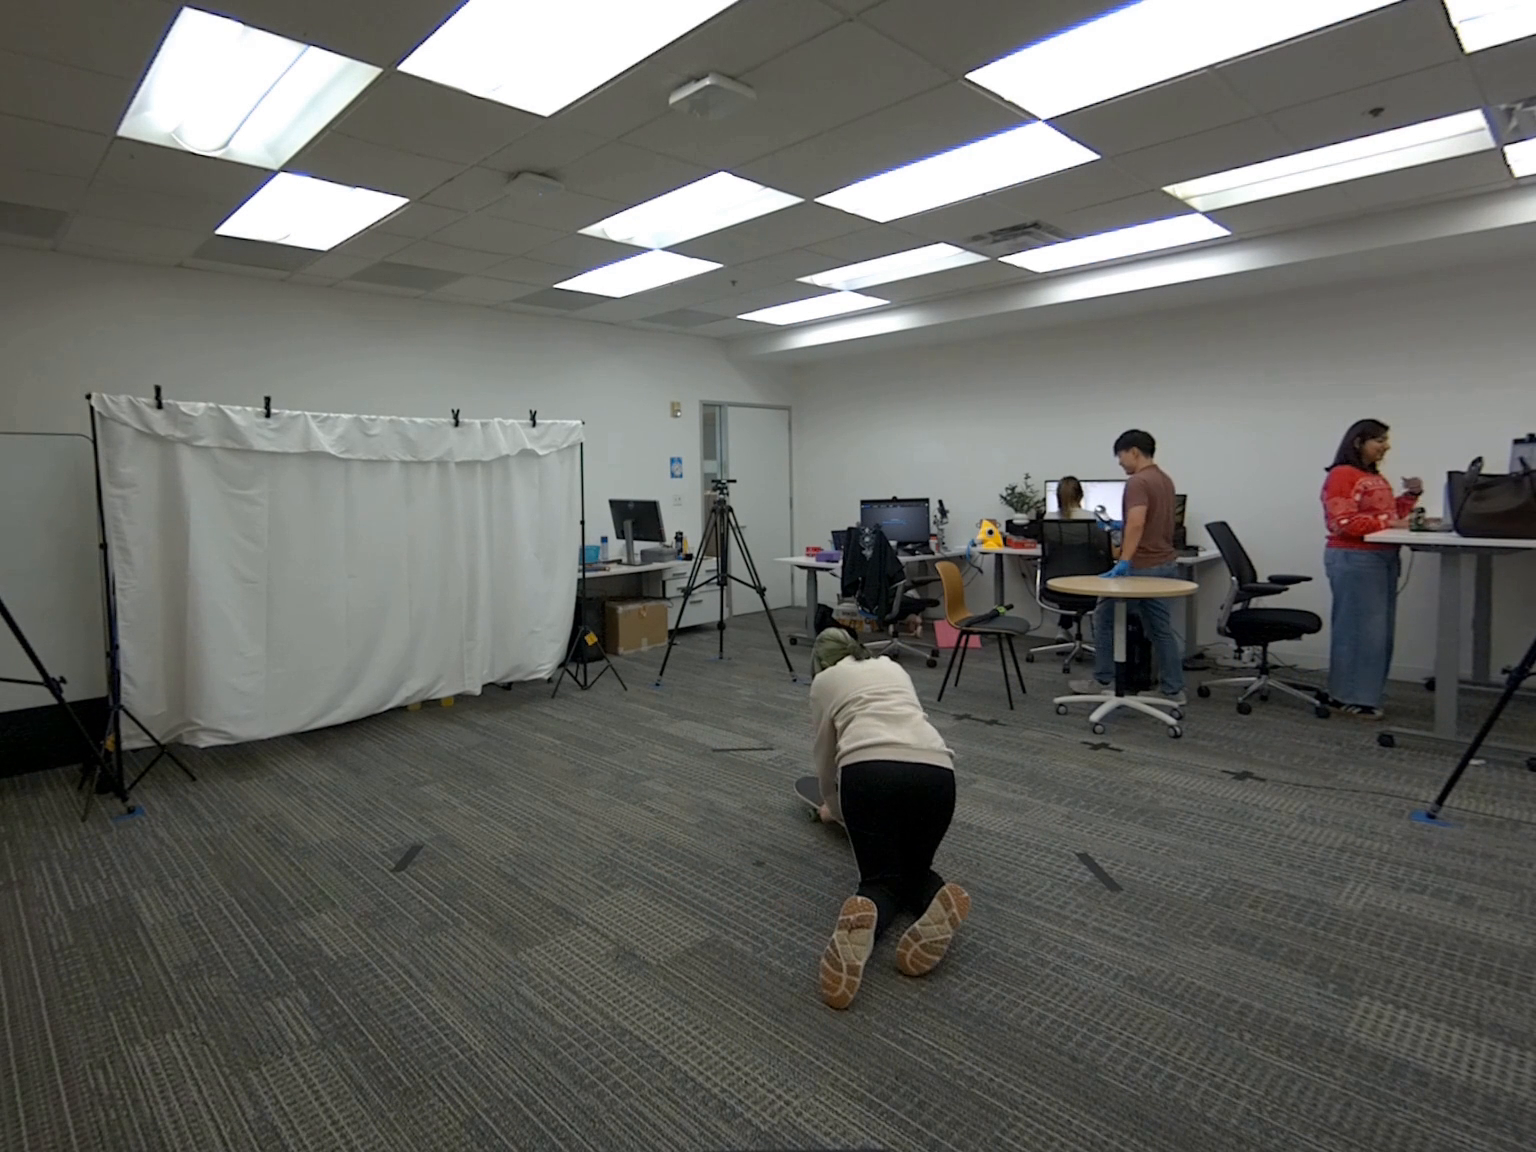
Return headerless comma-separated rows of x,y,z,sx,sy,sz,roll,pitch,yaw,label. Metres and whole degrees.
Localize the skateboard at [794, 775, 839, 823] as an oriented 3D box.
0.357,0.961,3.337,0.190,0.110,0.805,-5,7,-25,skateboard
